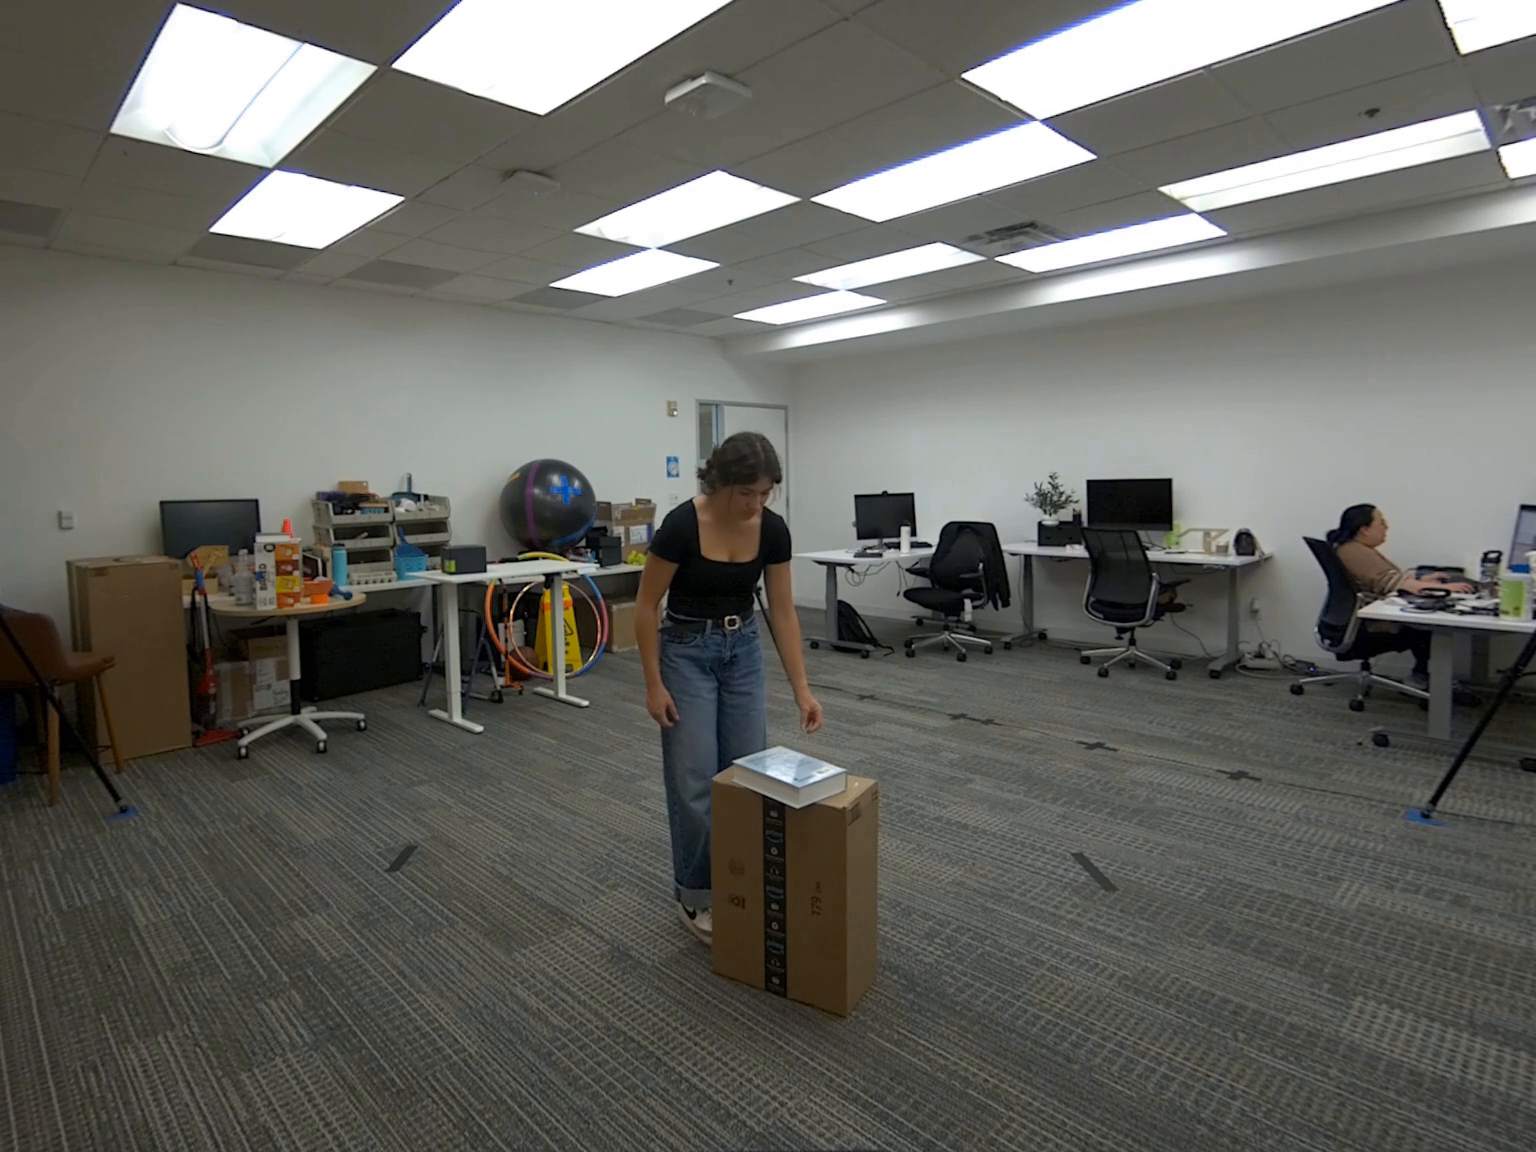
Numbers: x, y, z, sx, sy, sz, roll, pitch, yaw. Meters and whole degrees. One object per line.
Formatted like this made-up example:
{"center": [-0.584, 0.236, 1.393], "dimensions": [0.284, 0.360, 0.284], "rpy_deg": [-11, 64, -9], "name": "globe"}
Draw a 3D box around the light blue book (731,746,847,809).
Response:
{"center": [0.049, 0.536, 2.339], "dimensions": [0.186, 0.059, 0.269], "rpy_deg": [-9, 10, -43], "name": "light blue book"}
